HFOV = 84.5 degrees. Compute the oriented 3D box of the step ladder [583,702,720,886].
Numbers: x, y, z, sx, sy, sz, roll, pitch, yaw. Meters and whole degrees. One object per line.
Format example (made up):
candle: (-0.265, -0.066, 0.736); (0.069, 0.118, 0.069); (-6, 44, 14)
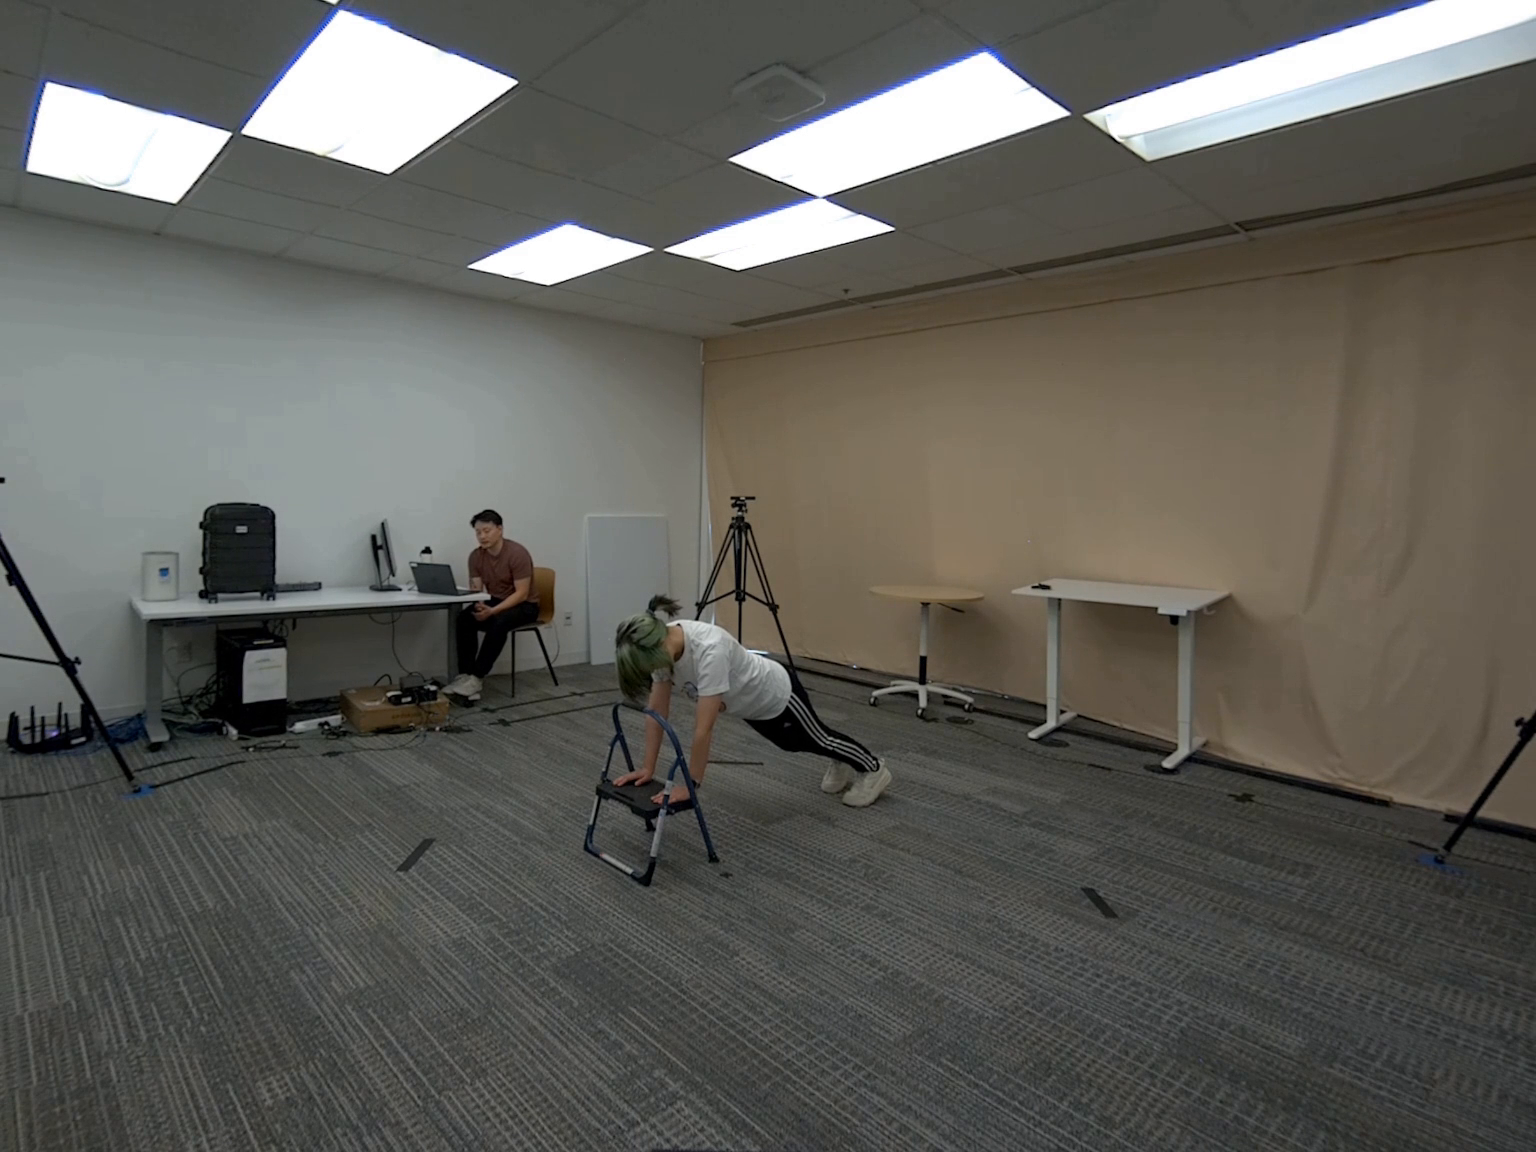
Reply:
step ladder: (-0.457, 0.783, 3.241); (0.341, 0.605, 0.441); (-2, 5, -44)
